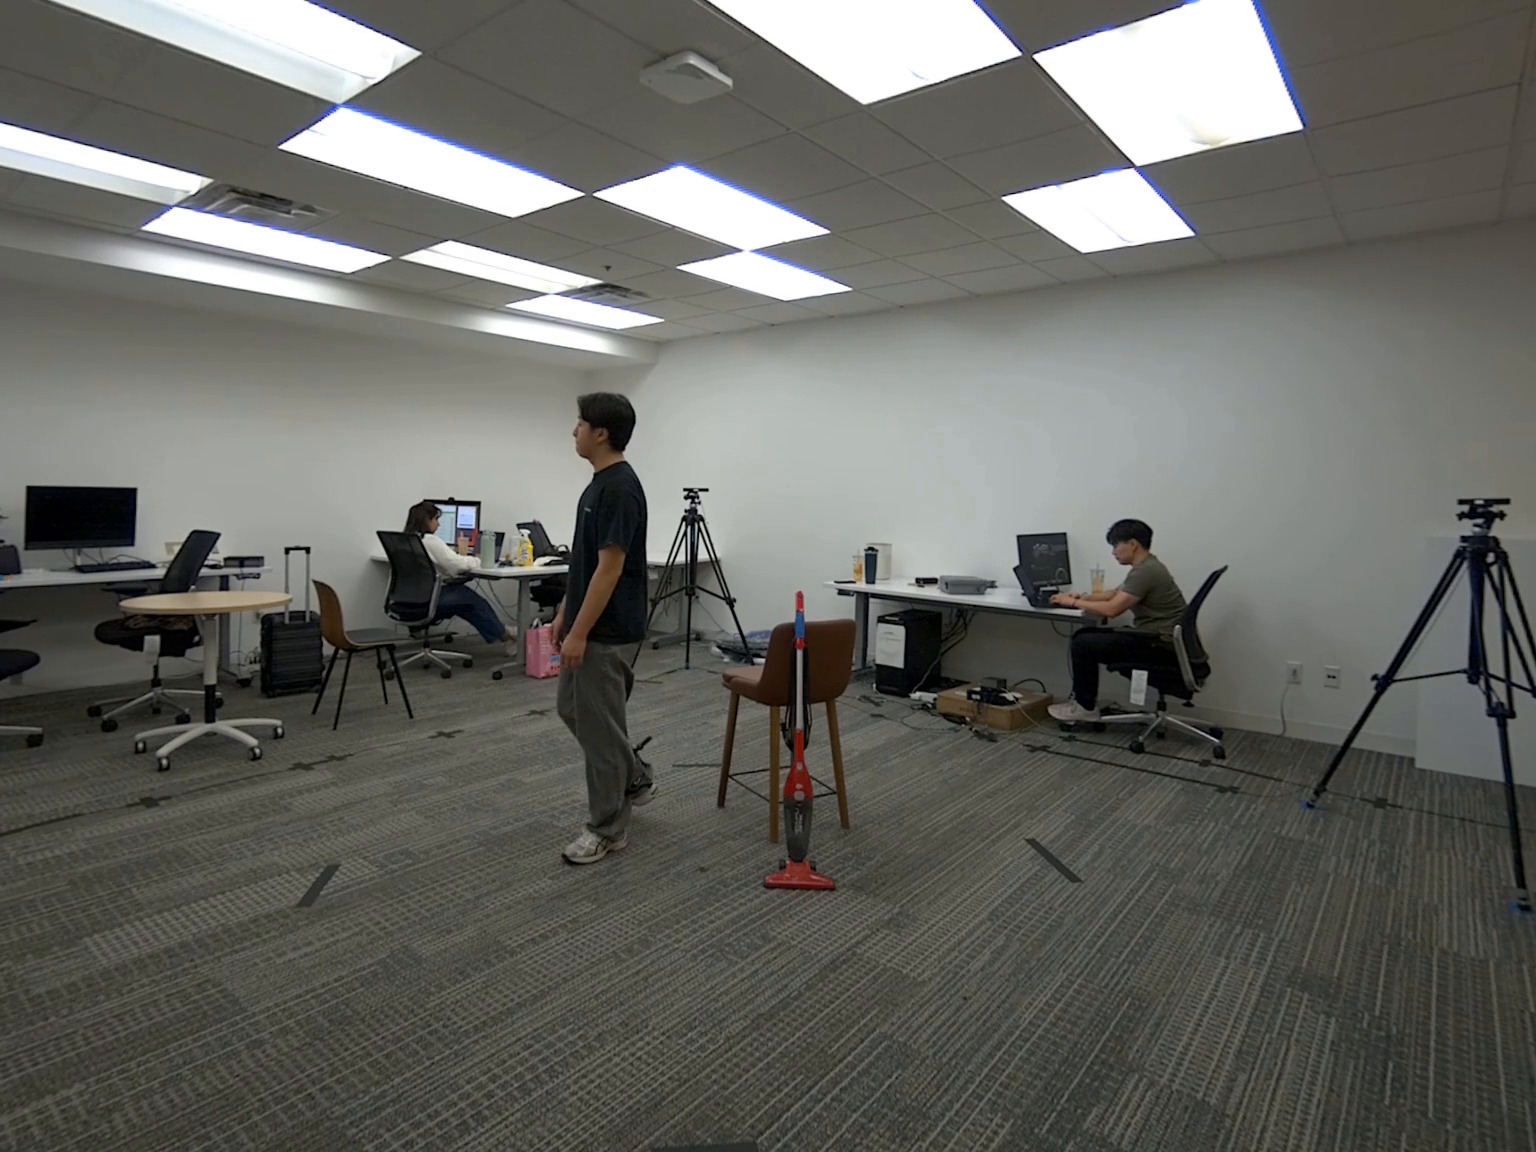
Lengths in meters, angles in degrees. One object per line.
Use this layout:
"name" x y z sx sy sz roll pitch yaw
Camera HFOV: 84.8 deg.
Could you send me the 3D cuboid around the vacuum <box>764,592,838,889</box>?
"vacuum" 0.119 0.577 3.193 0.252 1.065 0.142 3 -17 -3
